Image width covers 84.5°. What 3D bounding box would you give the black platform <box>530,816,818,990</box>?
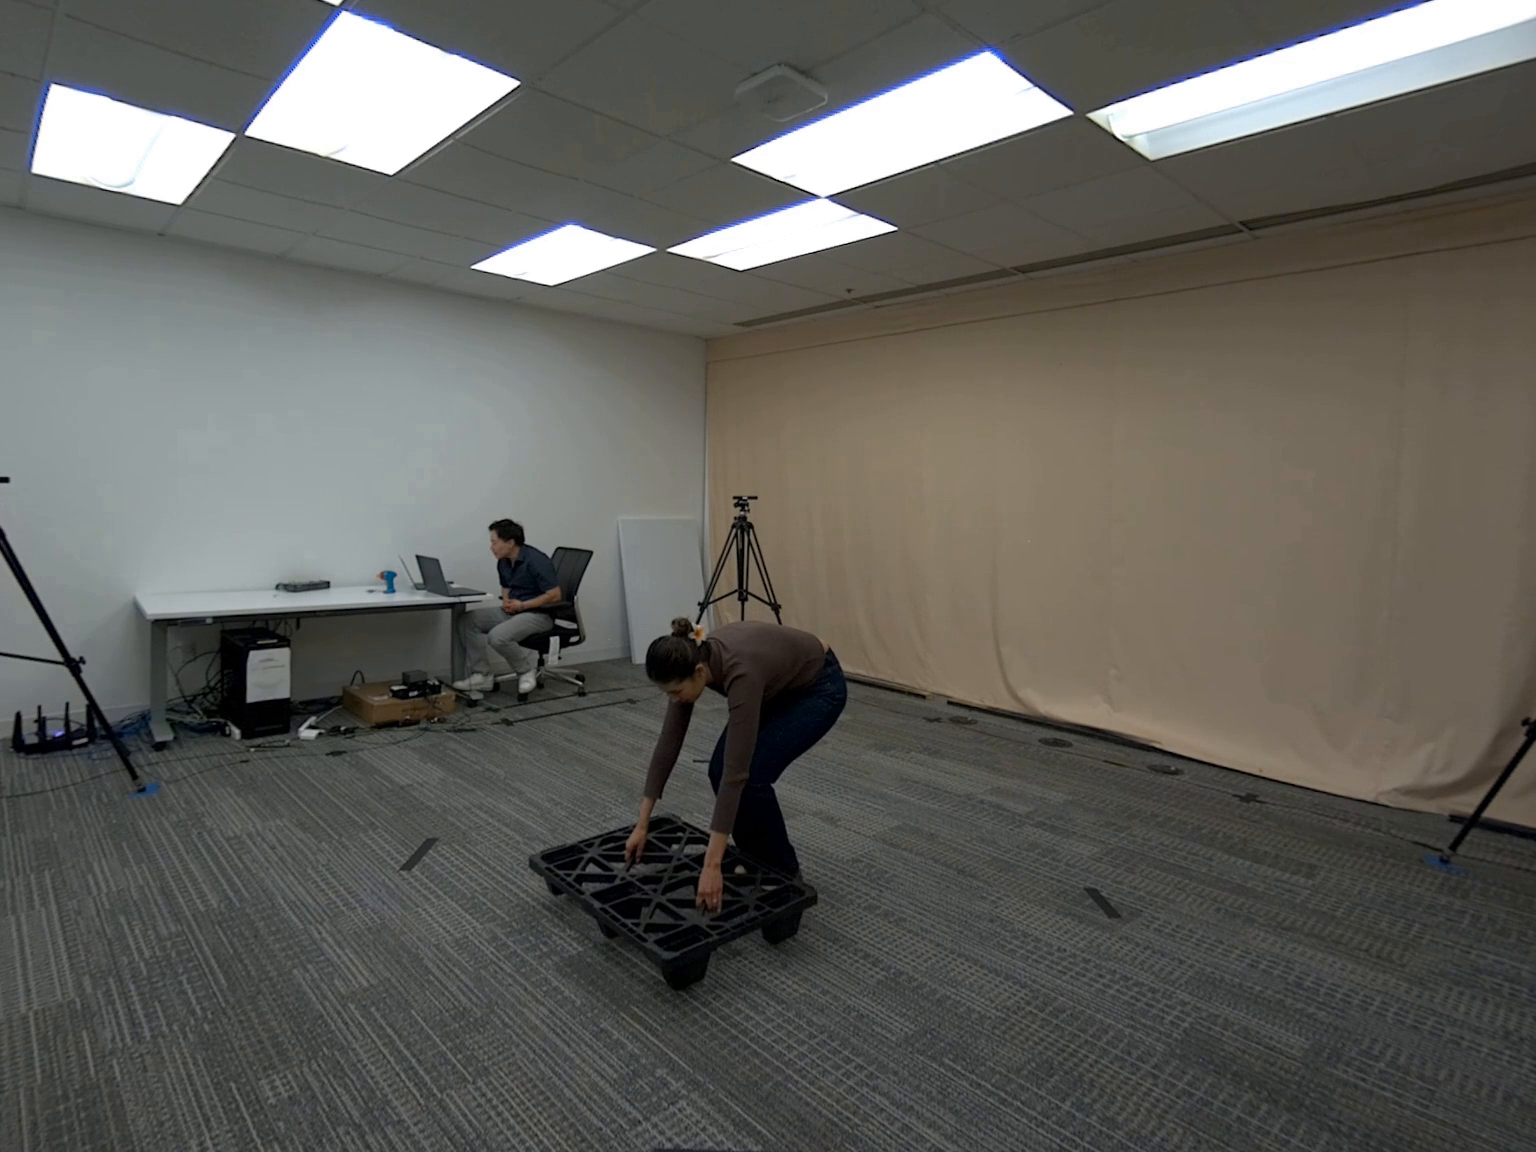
[{"bbox_3d":[-0.332,1.036,2.745,0.592,0.143,0.827,-4,9,-41],"label":"black platform"}]
